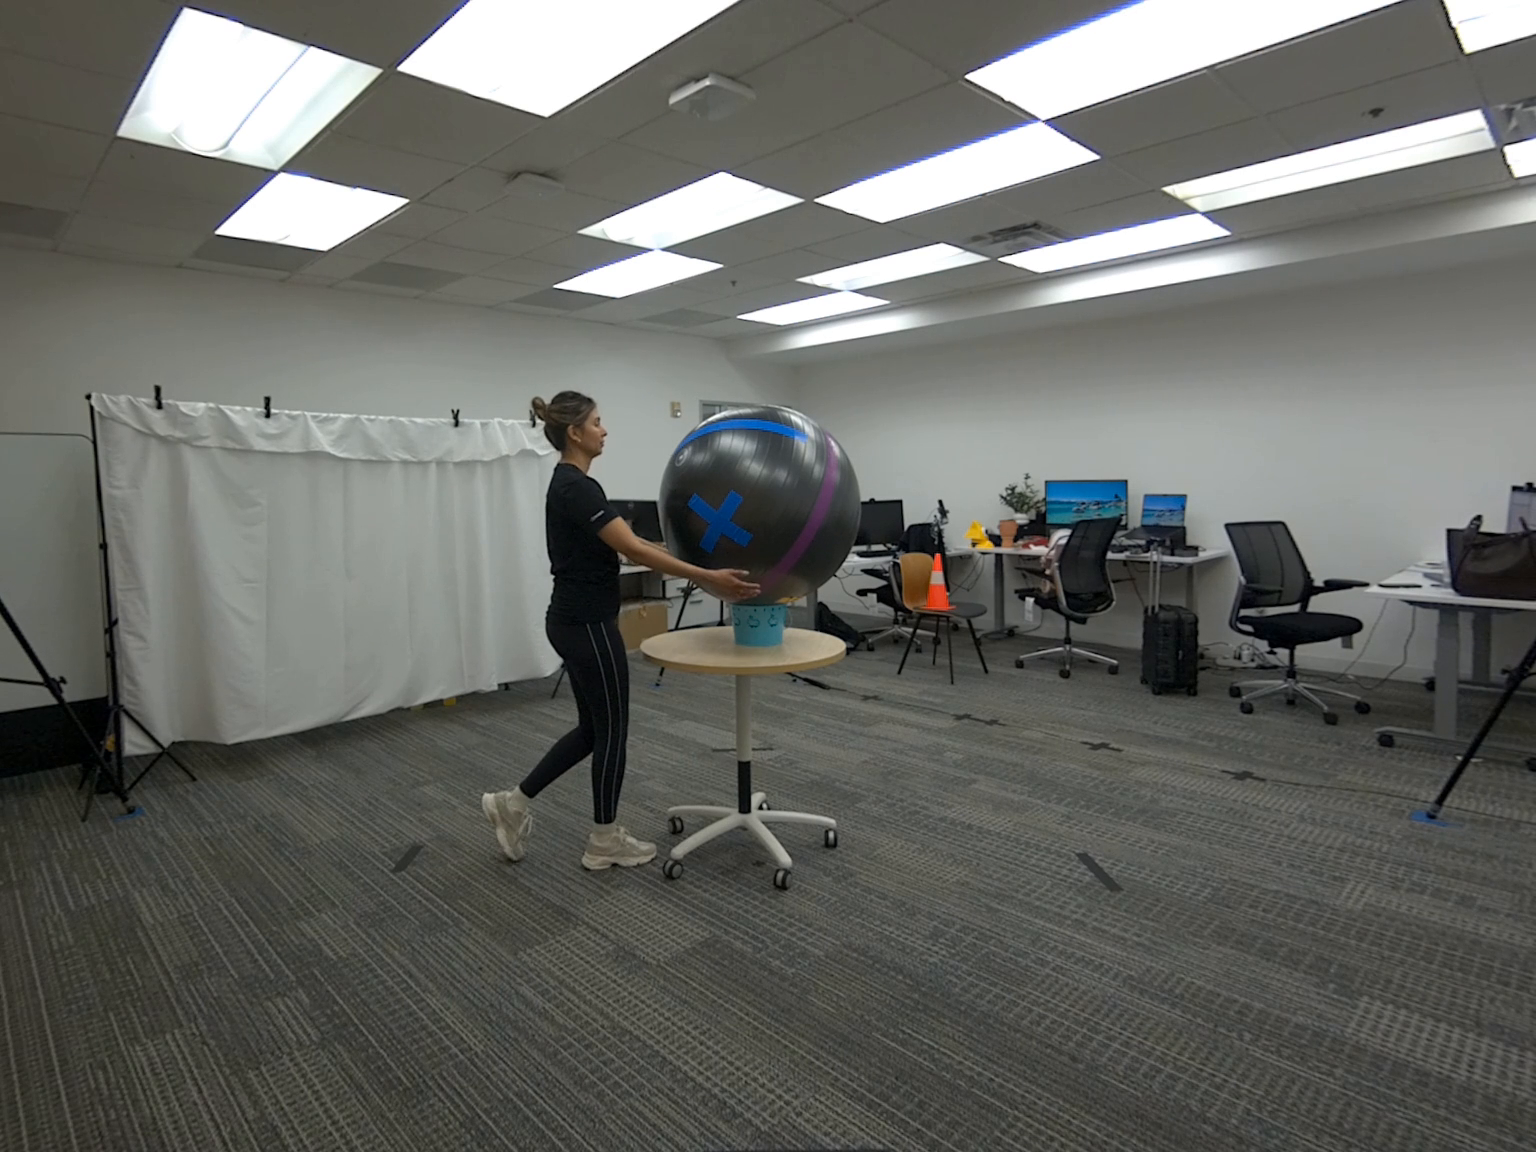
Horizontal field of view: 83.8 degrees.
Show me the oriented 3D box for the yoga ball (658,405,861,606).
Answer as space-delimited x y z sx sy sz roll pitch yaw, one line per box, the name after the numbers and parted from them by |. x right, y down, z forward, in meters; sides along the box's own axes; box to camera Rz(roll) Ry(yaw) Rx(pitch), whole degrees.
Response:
-0.034 -0.257 3.212 0.757 0.755 0.762 -1 5 -2 | yoga ball
